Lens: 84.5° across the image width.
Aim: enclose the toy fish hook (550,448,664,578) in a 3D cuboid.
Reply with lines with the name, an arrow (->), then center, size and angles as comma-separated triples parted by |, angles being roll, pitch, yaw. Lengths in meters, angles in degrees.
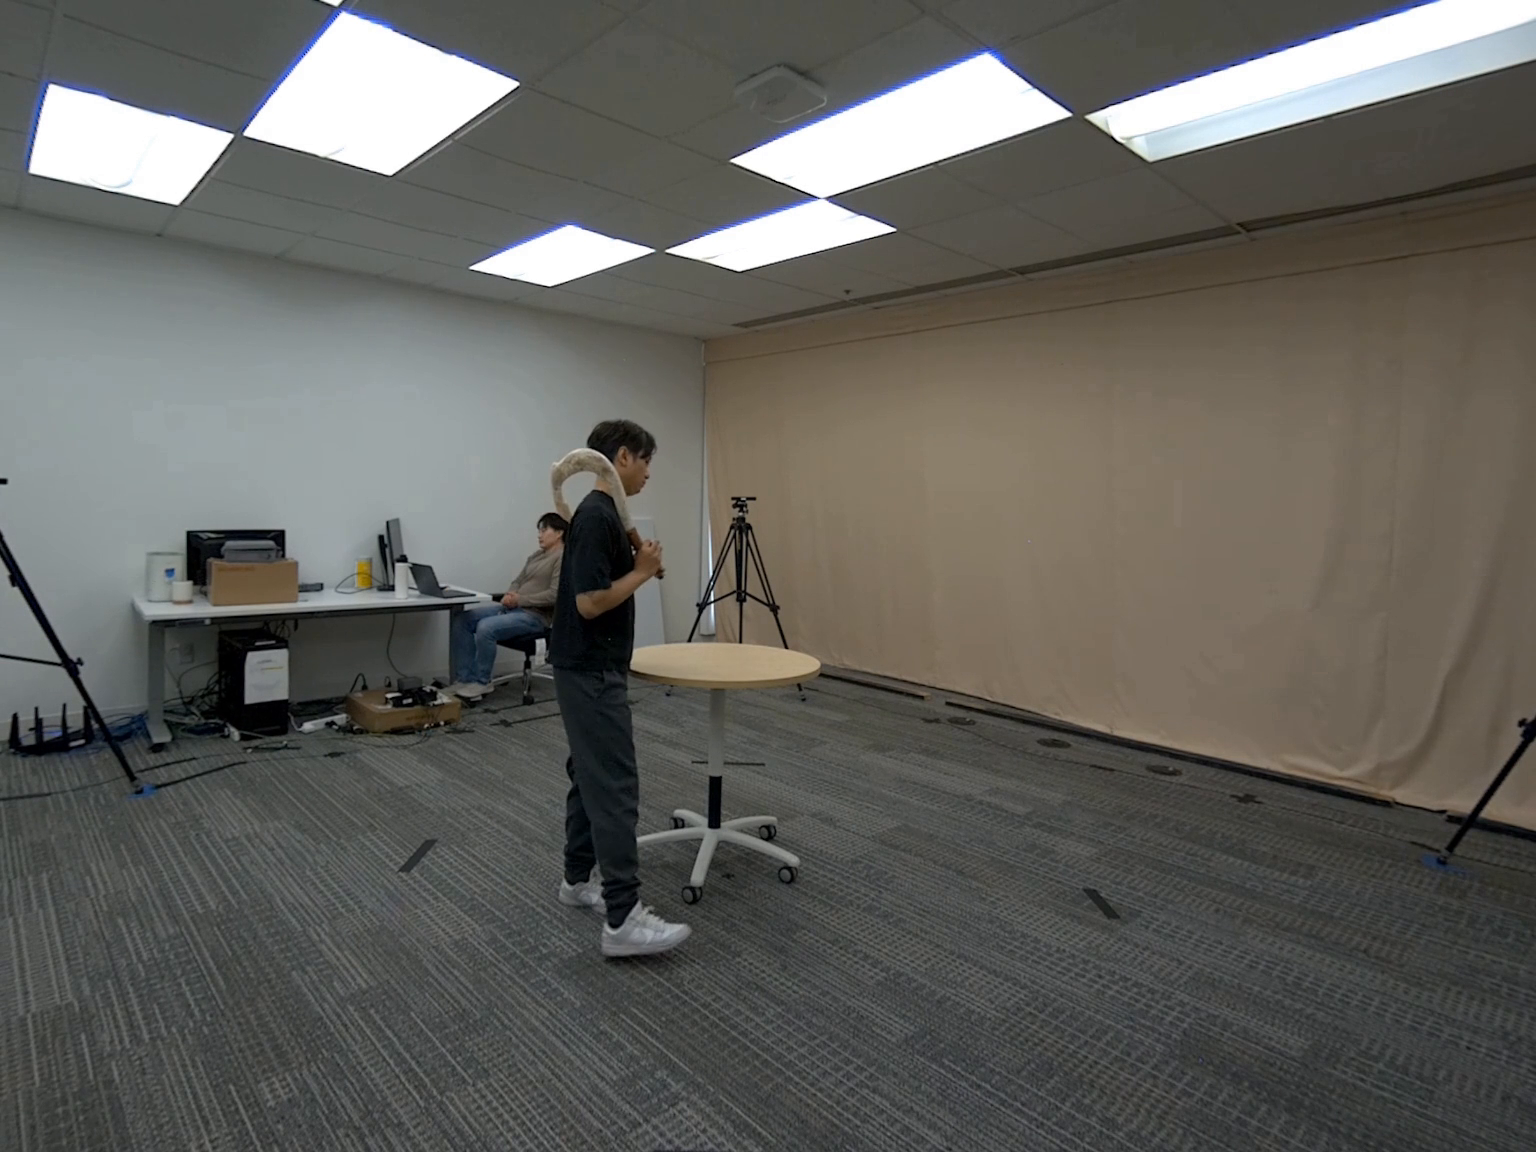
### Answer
toy fish hook -> -0.530, -0.171, 2.708 | 0.225, 0.498, 0.049 | -29, 16, 4
